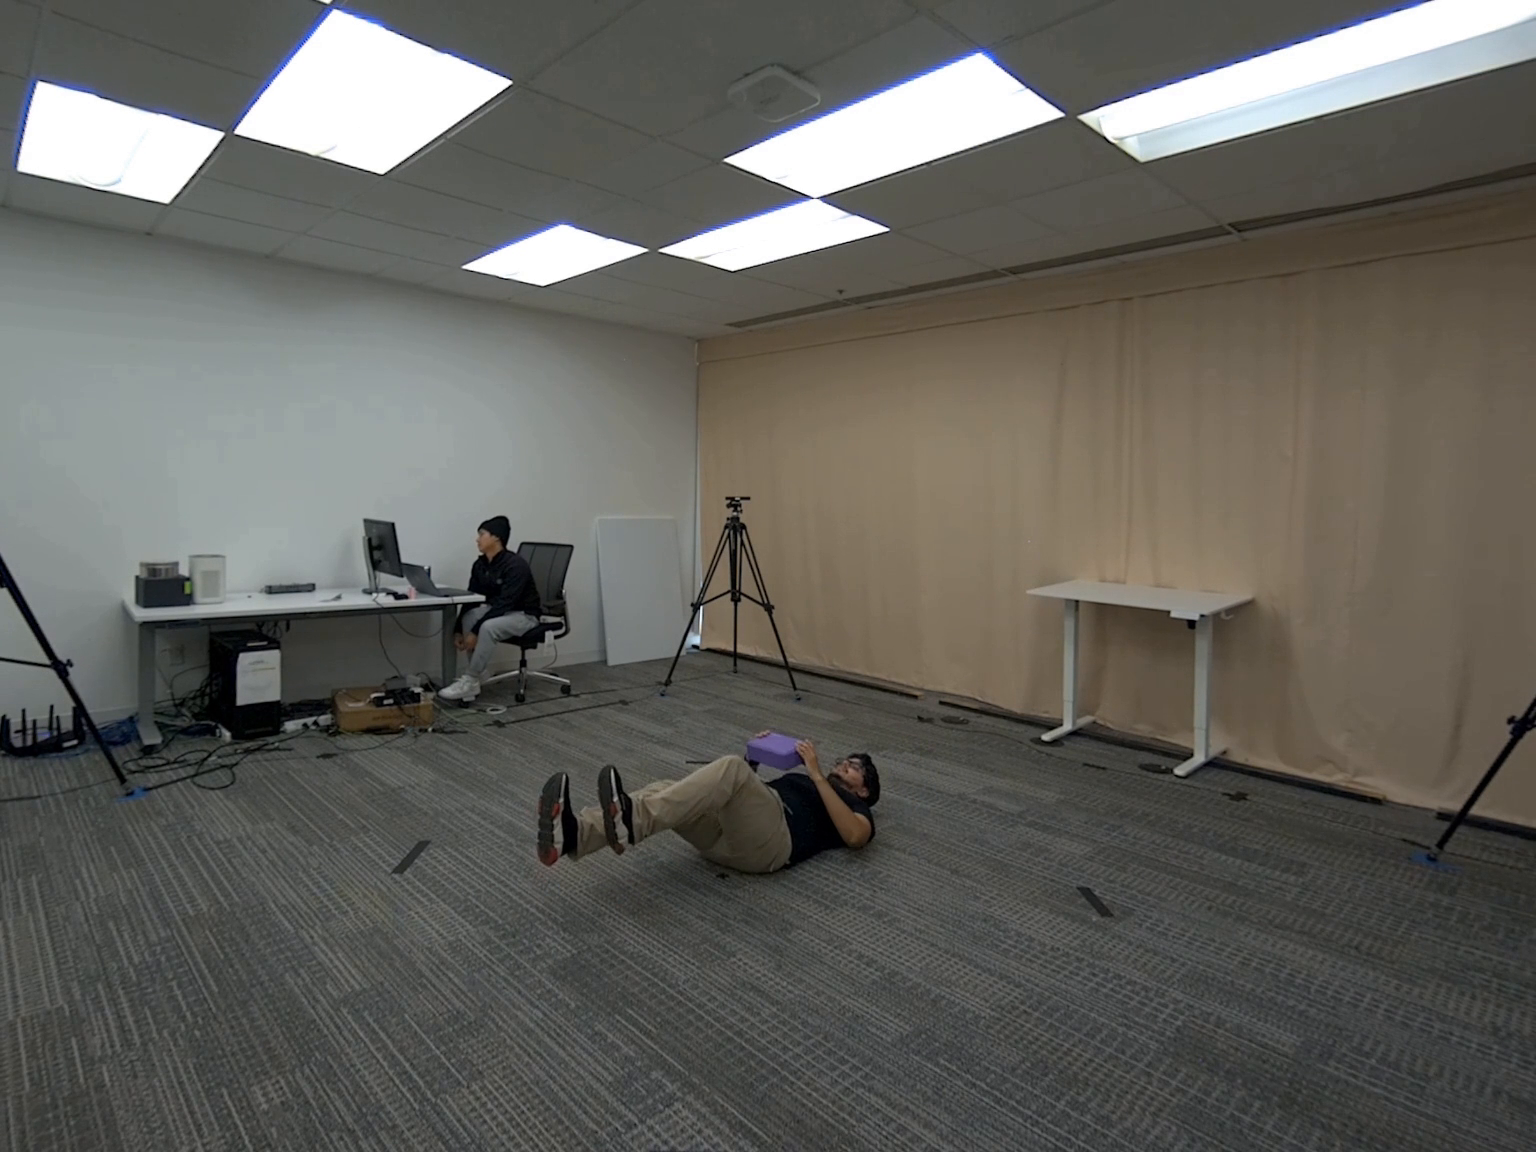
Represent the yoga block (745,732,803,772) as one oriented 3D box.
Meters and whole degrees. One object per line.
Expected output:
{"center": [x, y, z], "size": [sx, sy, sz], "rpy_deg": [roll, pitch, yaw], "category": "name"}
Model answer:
{"center": [0.031, 0.710, 3.419], "size": [0.146, 0.076, 0.235], "rpy_deg": [-13, 12, -43], "category": "yoga block"}
